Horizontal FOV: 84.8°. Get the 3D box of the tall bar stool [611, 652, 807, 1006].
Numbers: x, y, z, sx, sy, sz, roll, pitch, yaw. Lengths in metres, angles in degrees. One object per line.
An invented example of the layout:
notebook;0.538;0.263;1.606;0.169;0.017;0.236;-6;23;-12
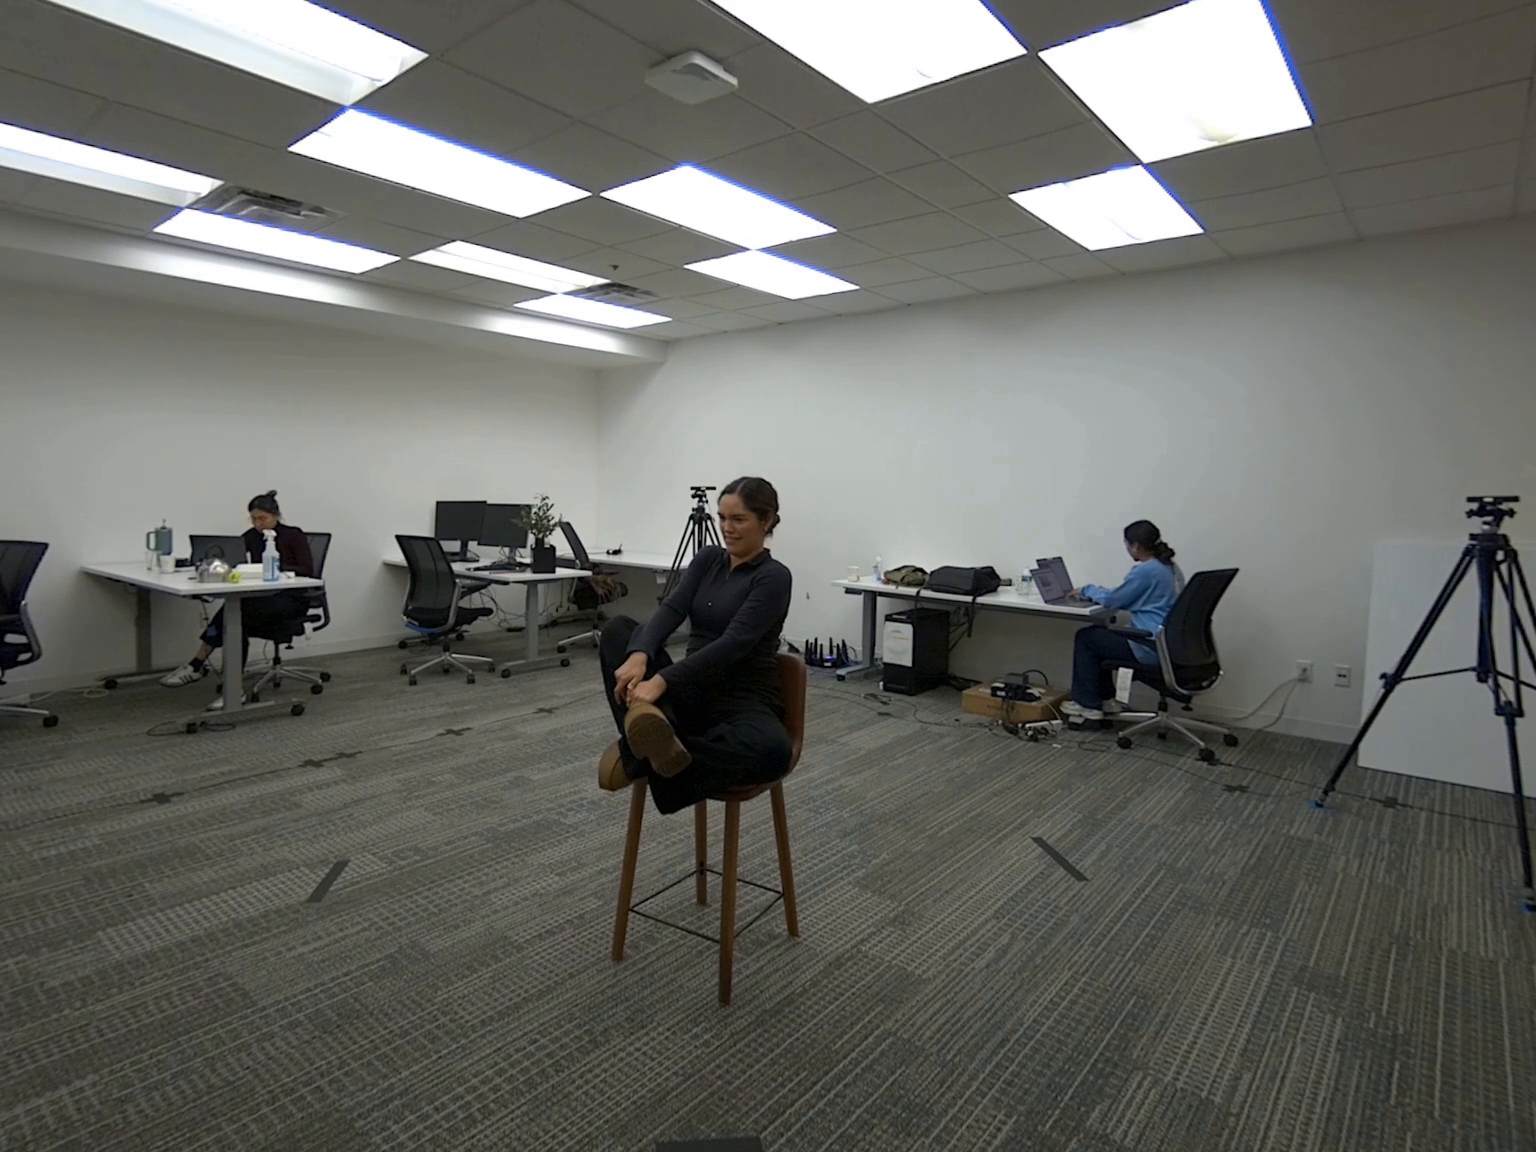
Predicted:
tall bar stool;-0.167;0.687;2.557;0.470;0.888;0.454;4;2;32
